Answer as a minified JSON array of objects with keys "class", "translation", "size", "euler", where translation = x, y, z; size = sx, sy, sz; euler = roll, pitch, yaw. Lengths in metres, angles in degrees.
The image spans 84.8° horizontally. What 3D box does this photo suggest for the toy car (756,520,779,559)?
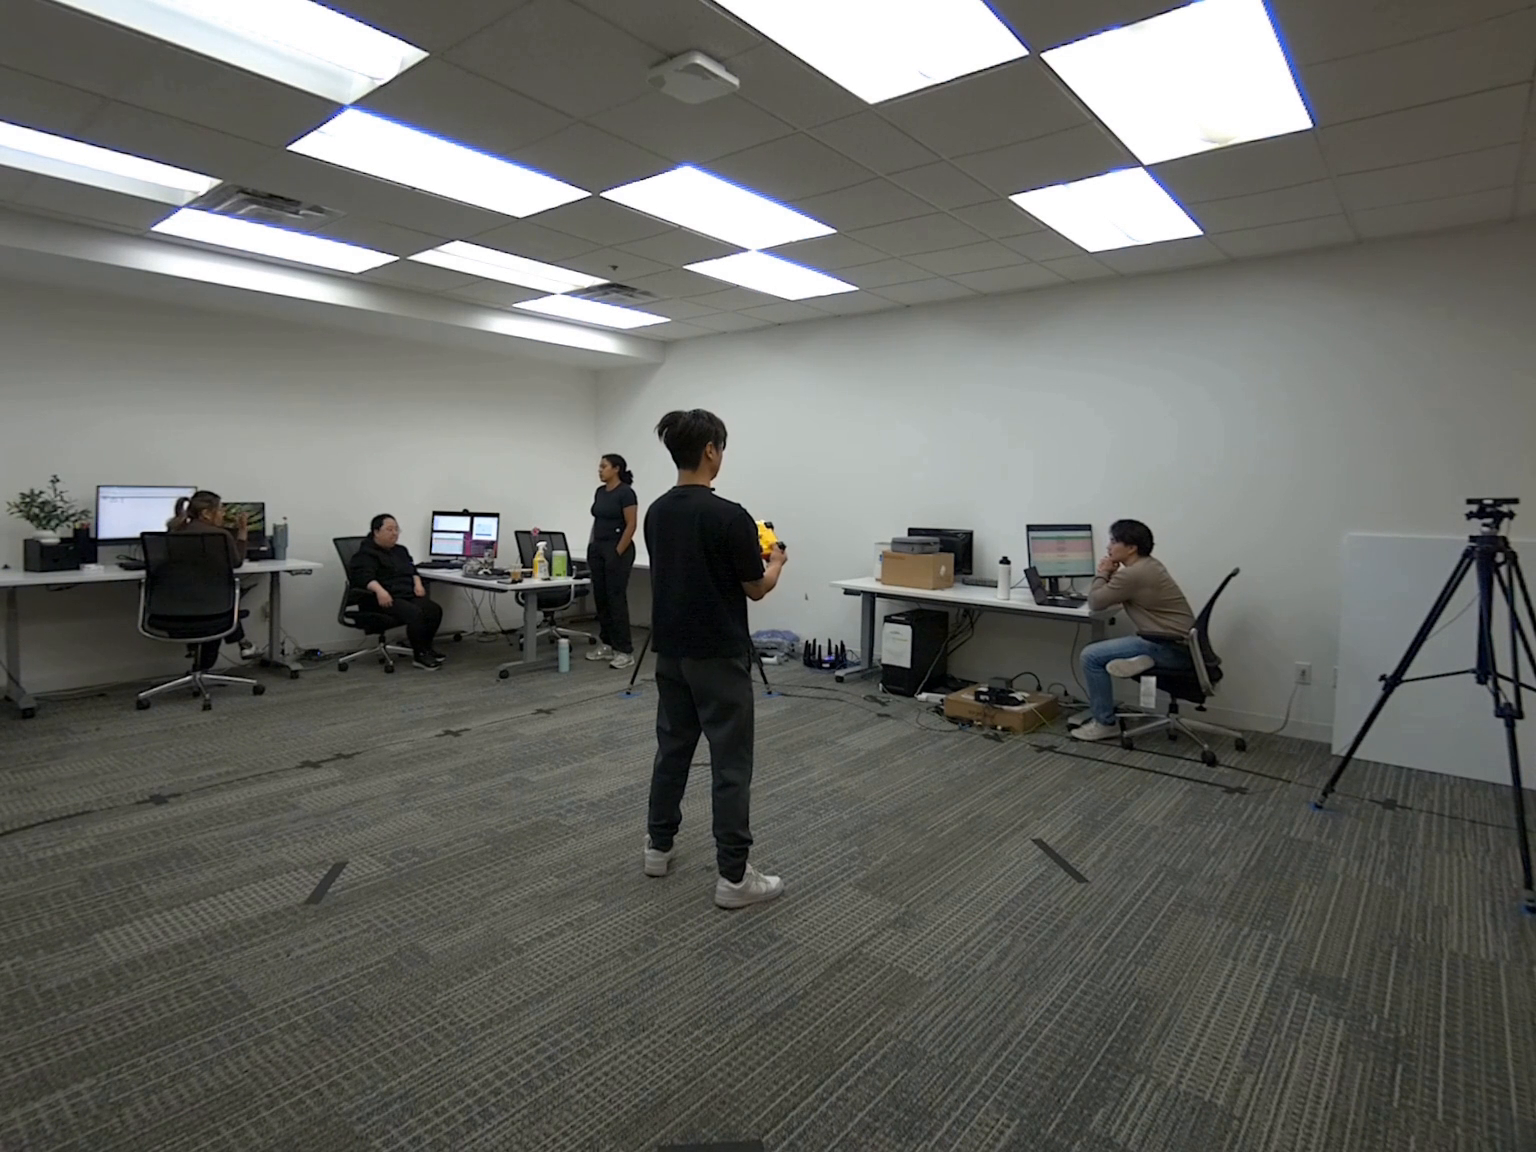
[{"class":"toy car","translation":[-0.030,-0.152,3.292],"size":[0.129,0.081,0.264],"euler":[-11,27,-15]}]
